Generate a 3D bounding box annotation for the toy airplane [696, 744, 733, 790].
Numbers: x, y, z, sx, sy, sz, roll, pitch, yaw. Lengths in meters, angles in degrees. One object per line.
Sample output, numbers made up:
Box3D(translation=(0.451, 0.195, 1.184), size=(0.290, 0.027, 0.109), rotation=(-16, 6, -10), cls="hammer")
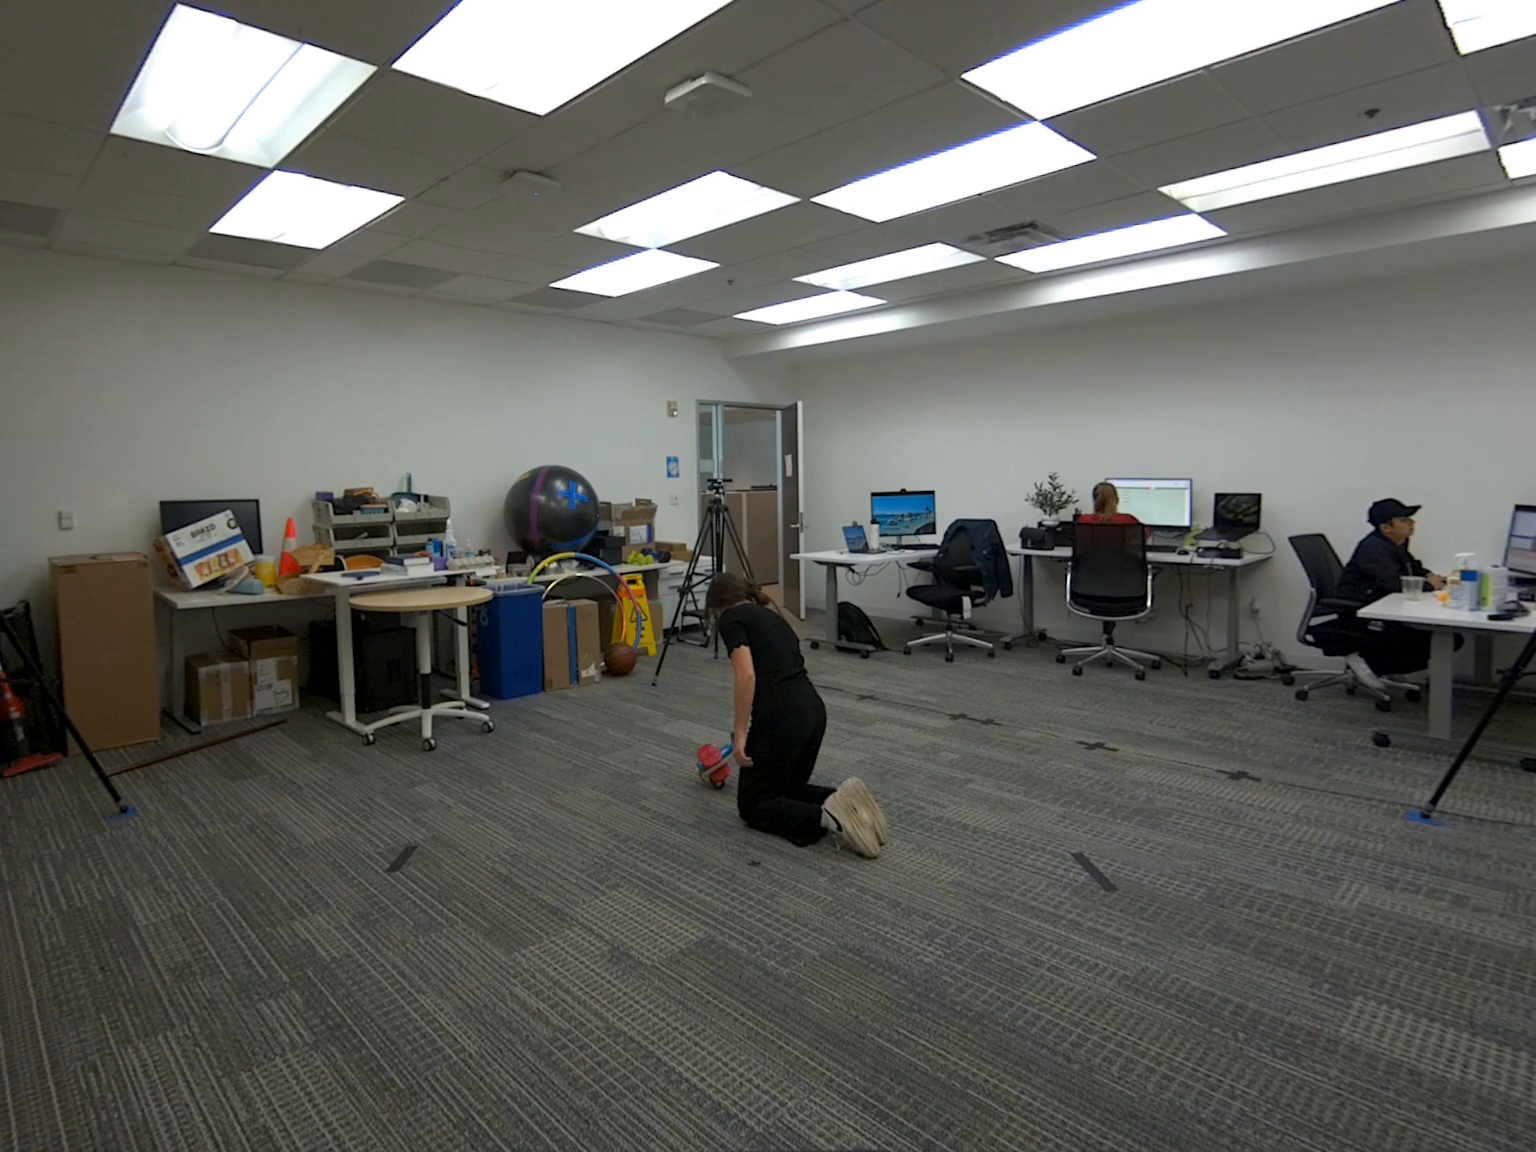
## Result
Box3D(translation=(-0.217, 0.841, 3.927), size=(0.254, 0.154, 0.260), rotation=(-25, 24, 51), cls="toy airplane")
